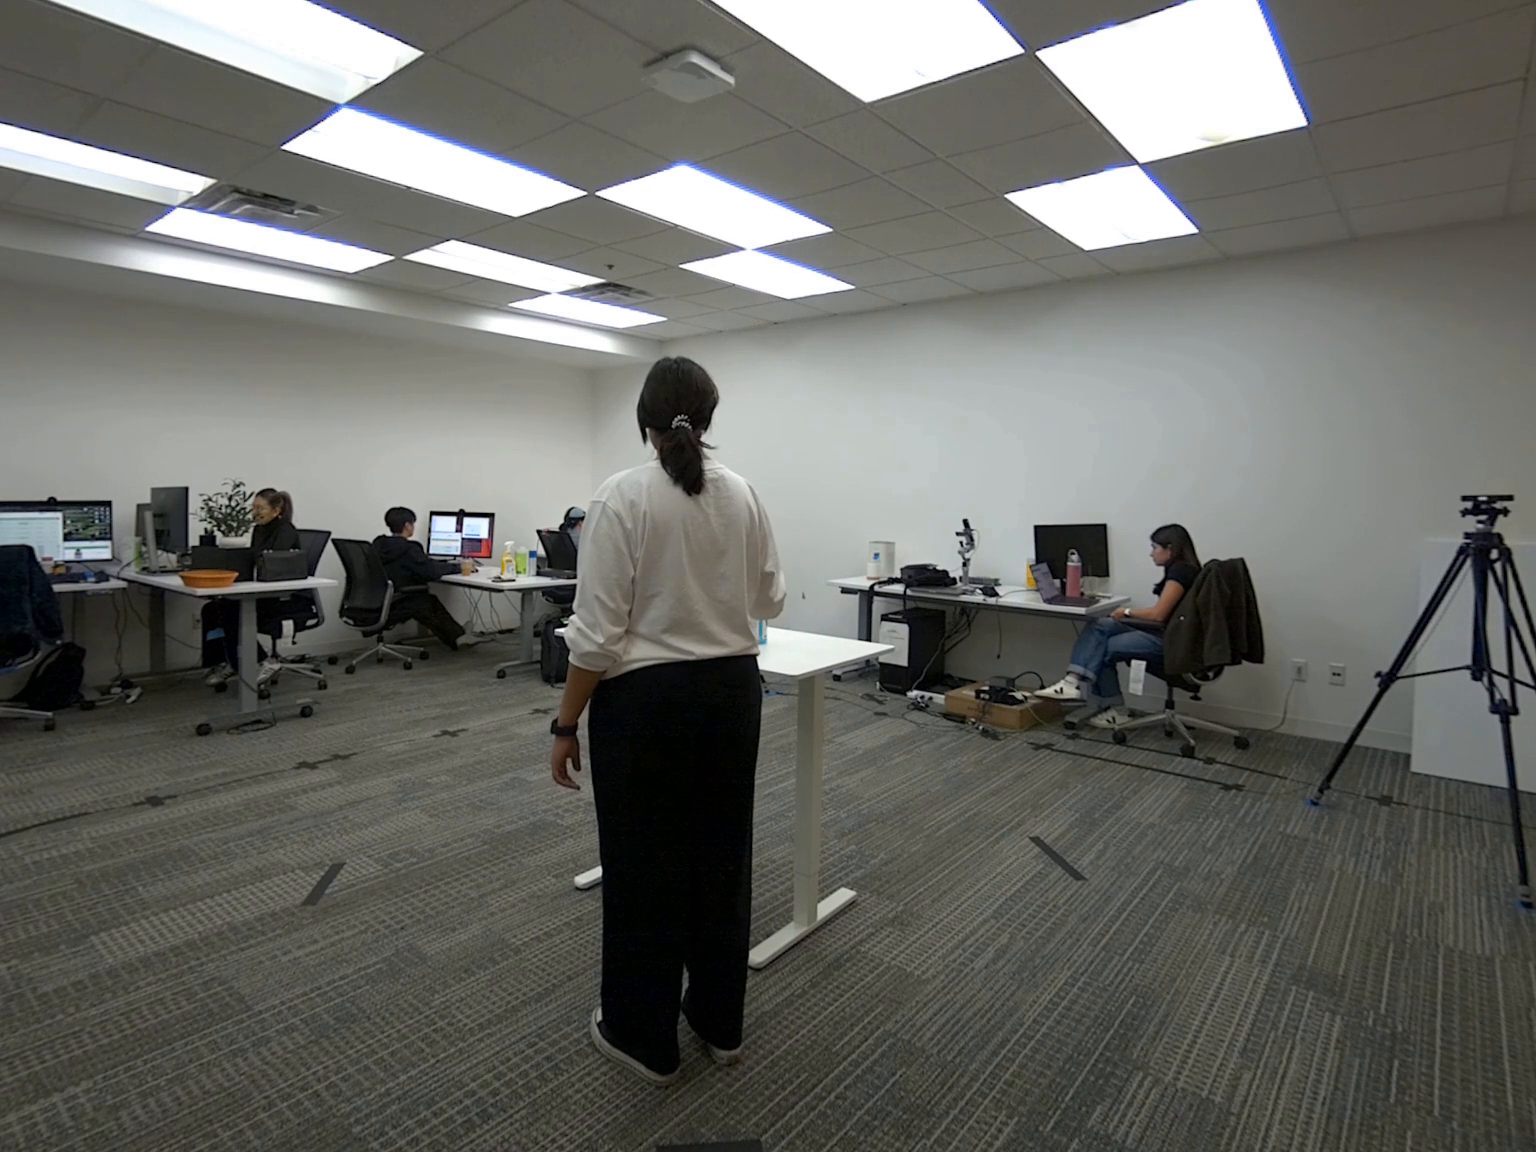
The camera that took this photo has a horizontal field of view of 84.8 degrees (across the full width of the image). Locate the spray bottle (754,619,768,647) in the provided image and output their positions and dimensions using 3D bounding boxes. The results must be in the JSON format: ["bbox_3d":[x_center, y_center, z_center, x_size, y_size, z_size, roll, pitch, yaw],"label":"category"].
[{"bbox_3d":[-0.037,0.073,2.790,0.085,0.297,0.093,-1,3,-31],"label":"spray bottle"}]
